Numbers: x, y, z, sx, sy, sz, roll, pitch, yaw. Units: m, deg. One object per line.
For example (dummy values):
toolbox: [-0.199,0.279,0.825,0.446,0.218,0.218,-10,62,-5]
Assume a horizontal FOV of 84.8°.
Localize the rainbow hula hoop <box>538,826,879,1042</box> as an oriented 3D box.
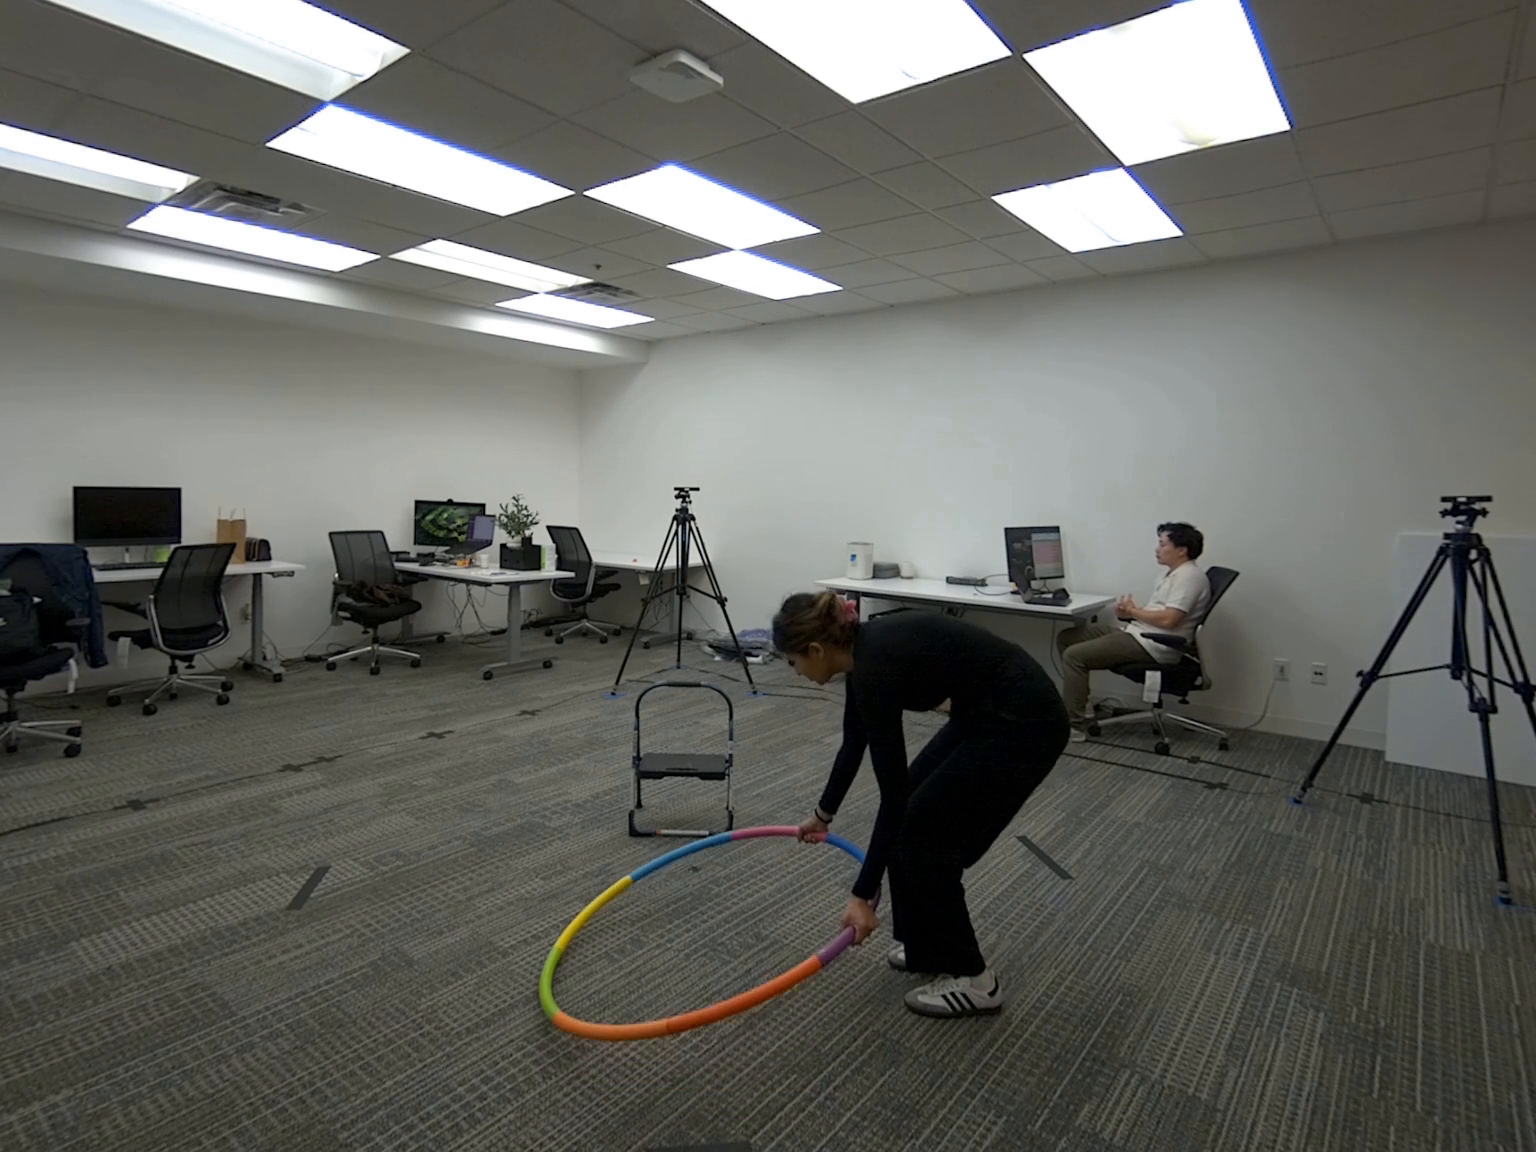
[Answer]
rainbow hula hoop: [-0.178,0.938,2.387,0.979,0.035,0.984,-17,6,-1]
